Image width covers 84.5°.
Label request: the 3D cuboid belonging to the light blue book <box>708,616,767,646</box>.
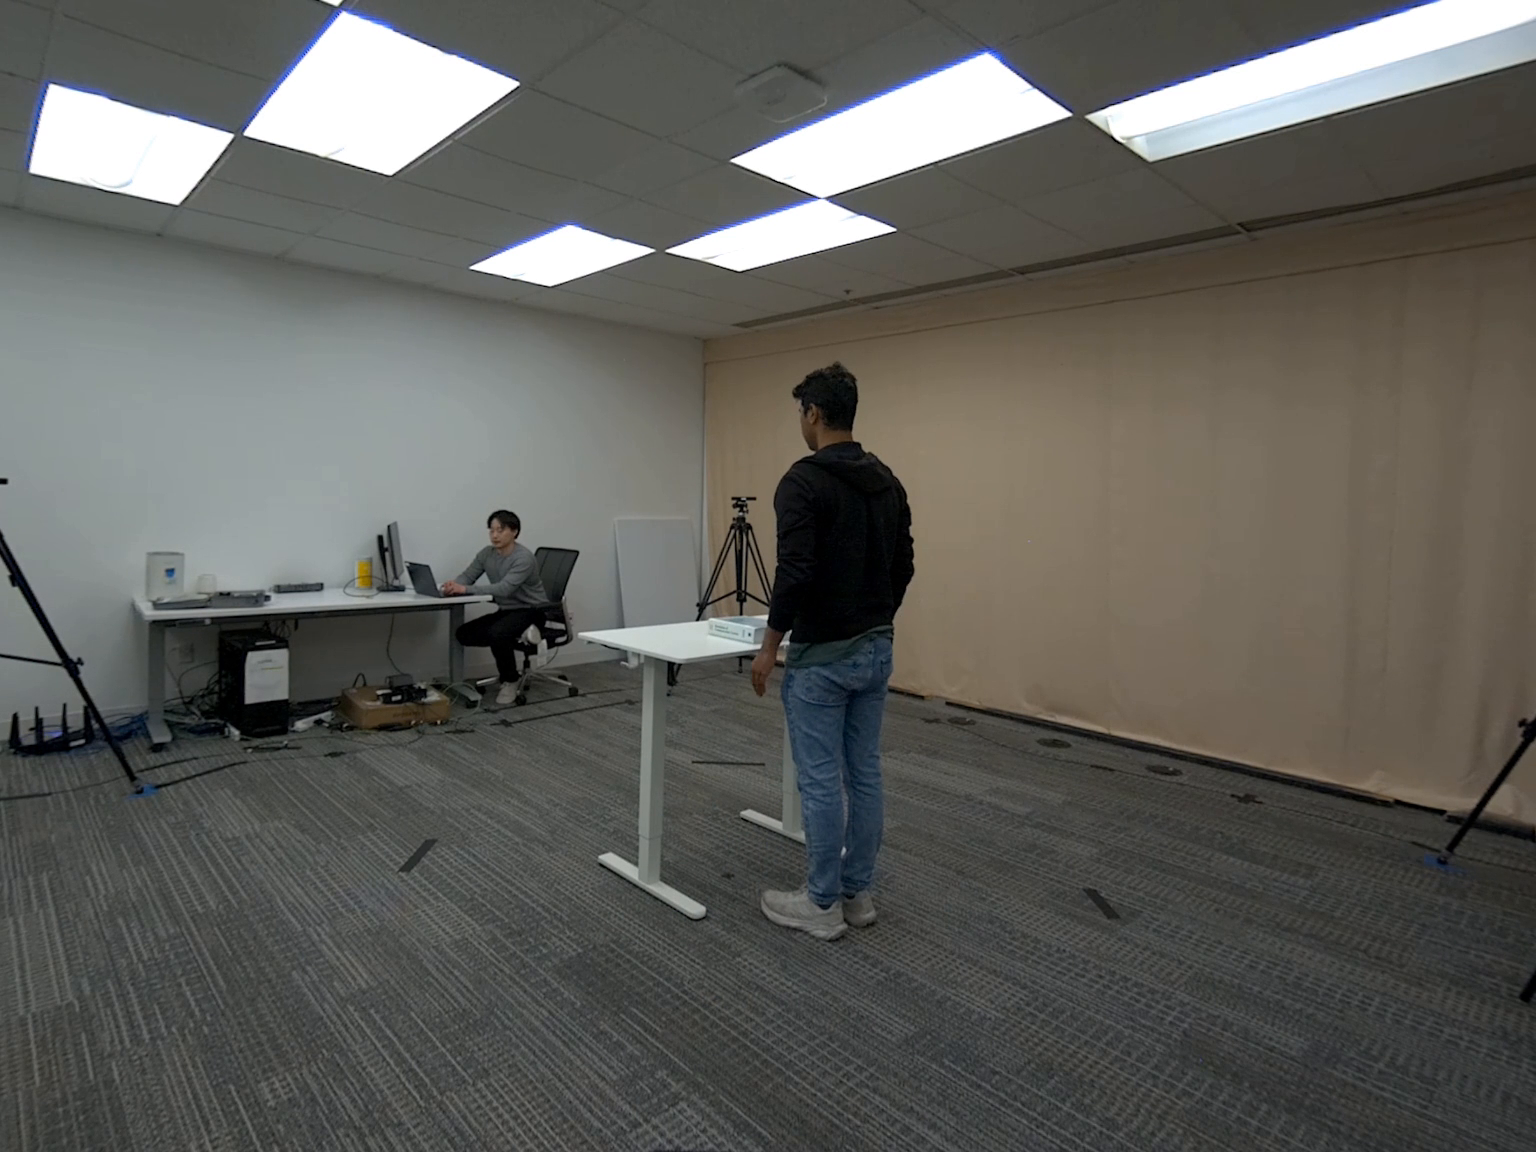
[{"bbox_3d":[-0.070,0.199,3.127,0.187,0.059,0.268,-3,7,-41],"label":"light blue book"}]
